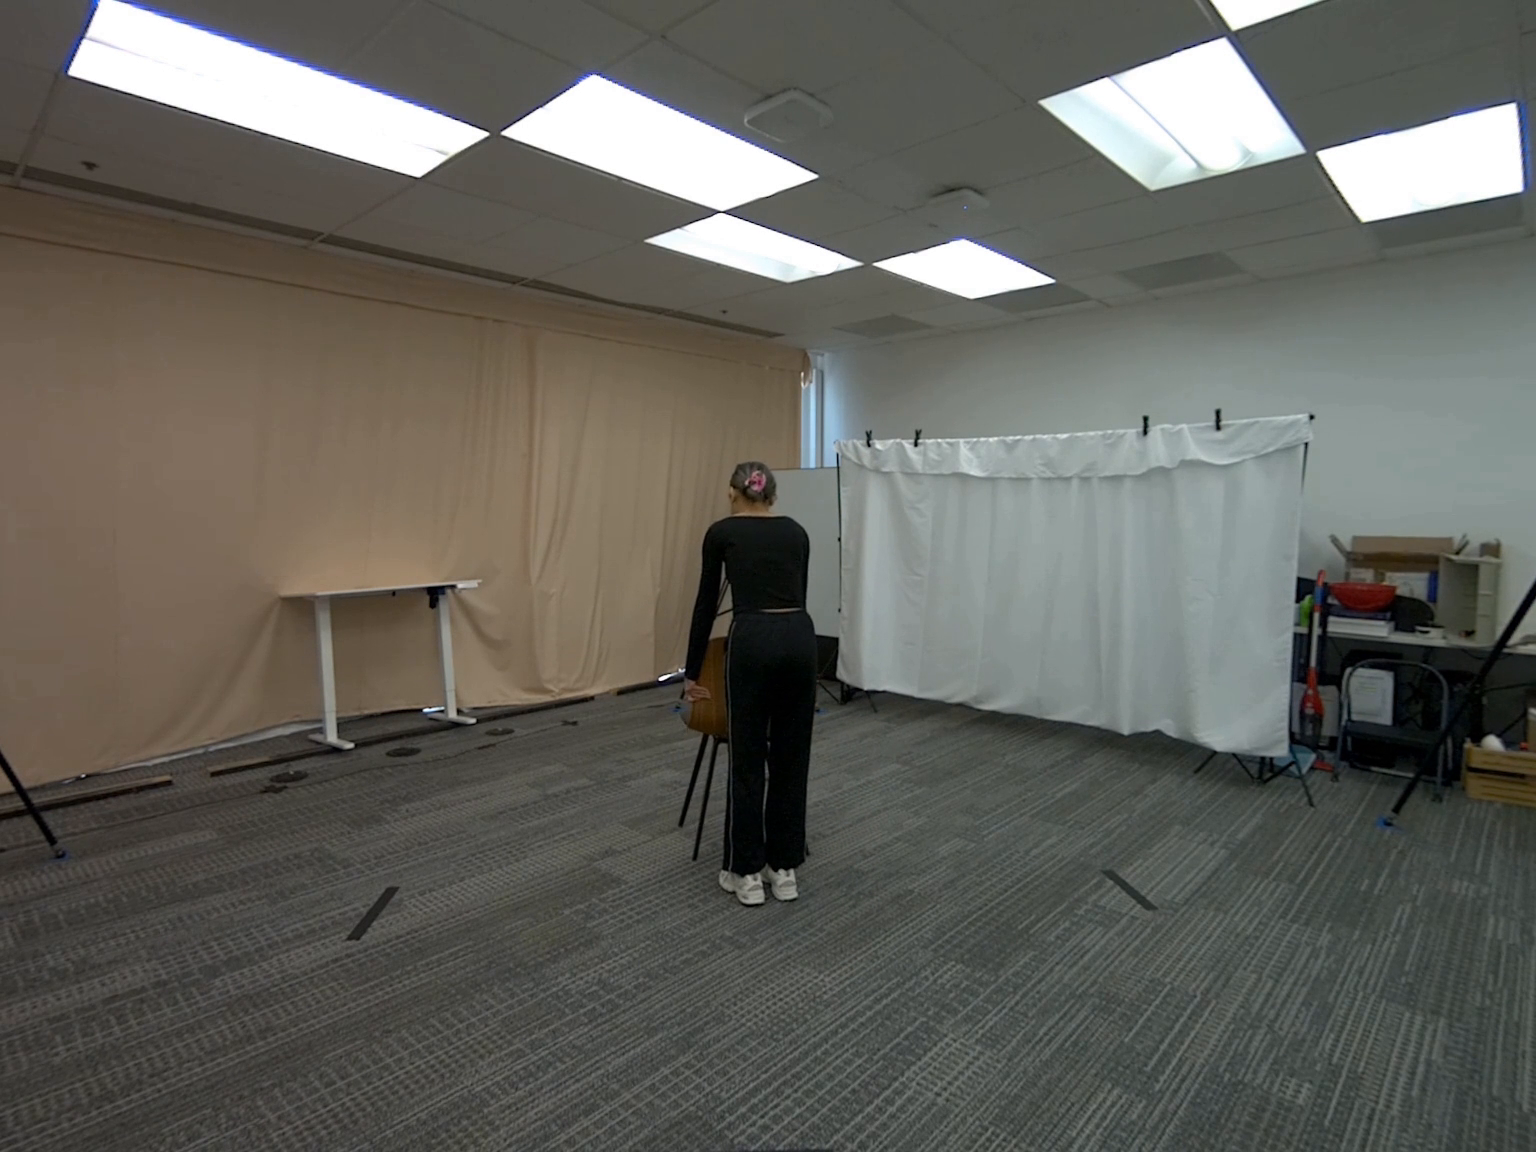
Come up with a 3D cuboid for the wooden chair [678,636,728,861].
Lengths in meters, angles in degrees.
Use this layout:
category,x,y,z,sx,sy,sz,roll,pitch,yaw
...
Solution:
category,x,y,z,sx,sy,sz,roll,pitch,yaw
wooden chair,-0.116,0.635,3.405,0.473,0.876,0.530,0,3,-11
